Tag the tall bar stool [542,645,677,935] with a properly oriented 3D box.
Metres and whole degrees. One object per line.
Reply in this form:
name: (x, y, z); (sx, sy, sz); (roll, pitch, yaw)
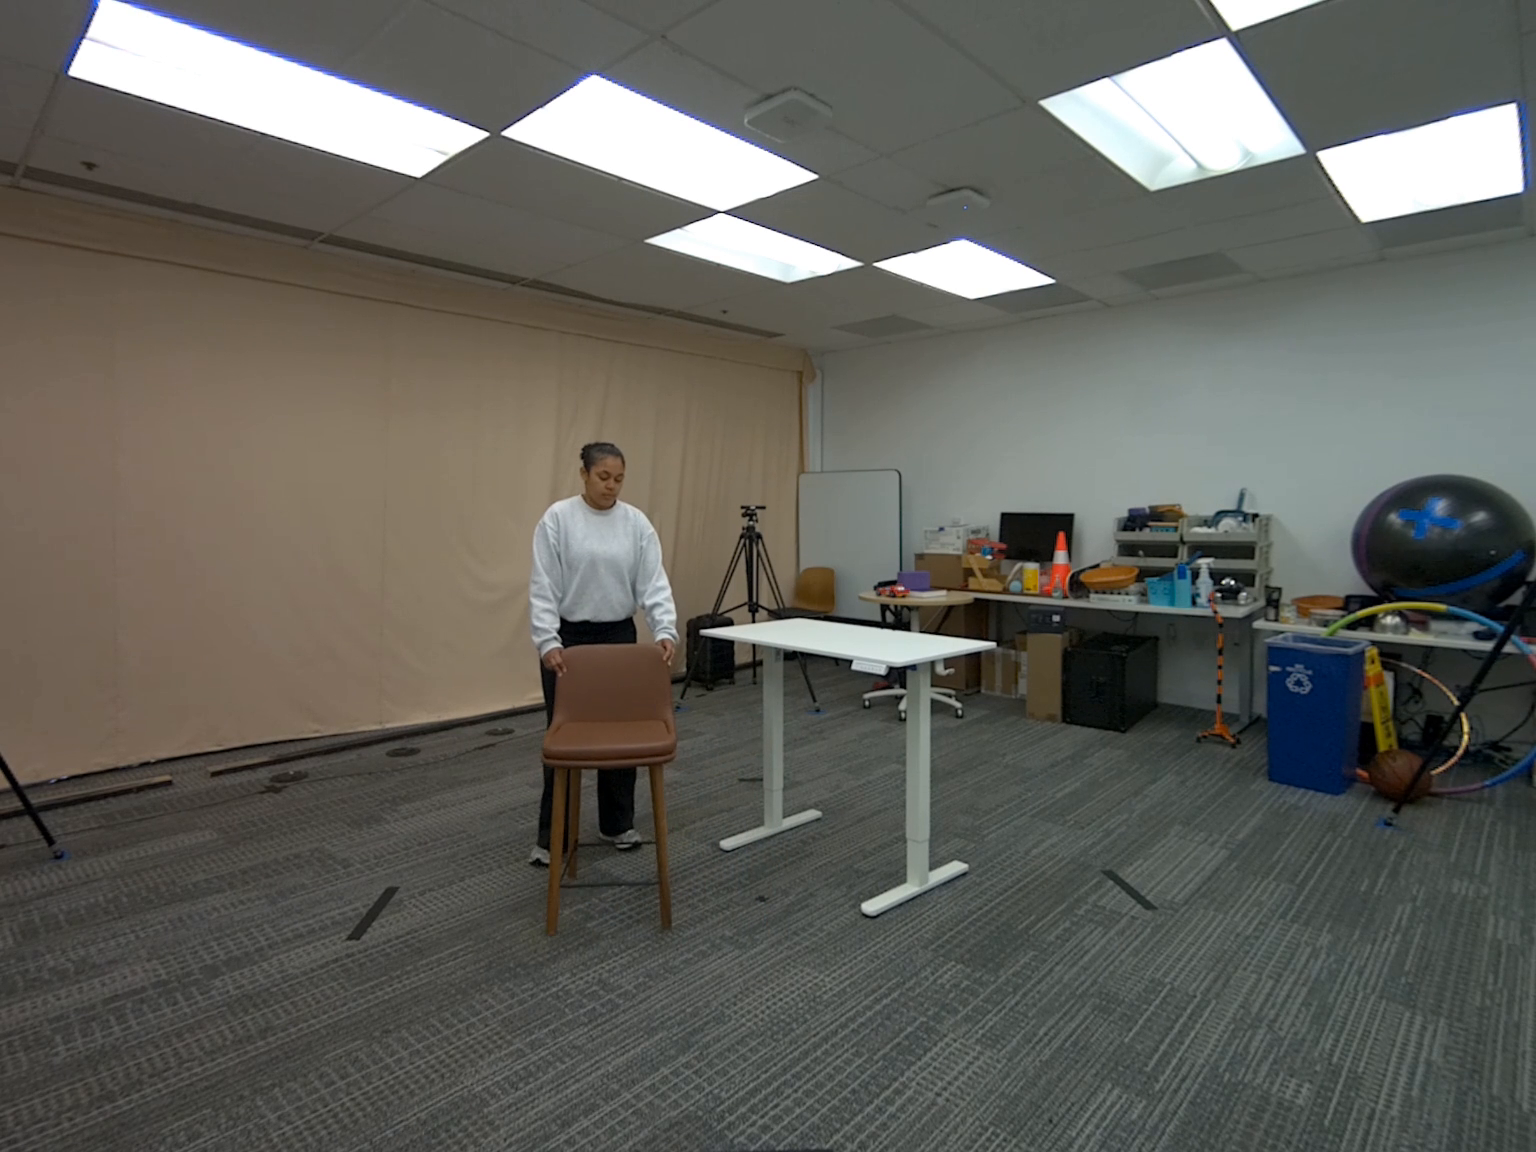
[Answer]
tall bar stool: (-0.548, 0.715, 2.960); (0.455, 0.889, 0.470); (-2, 1, -5)
